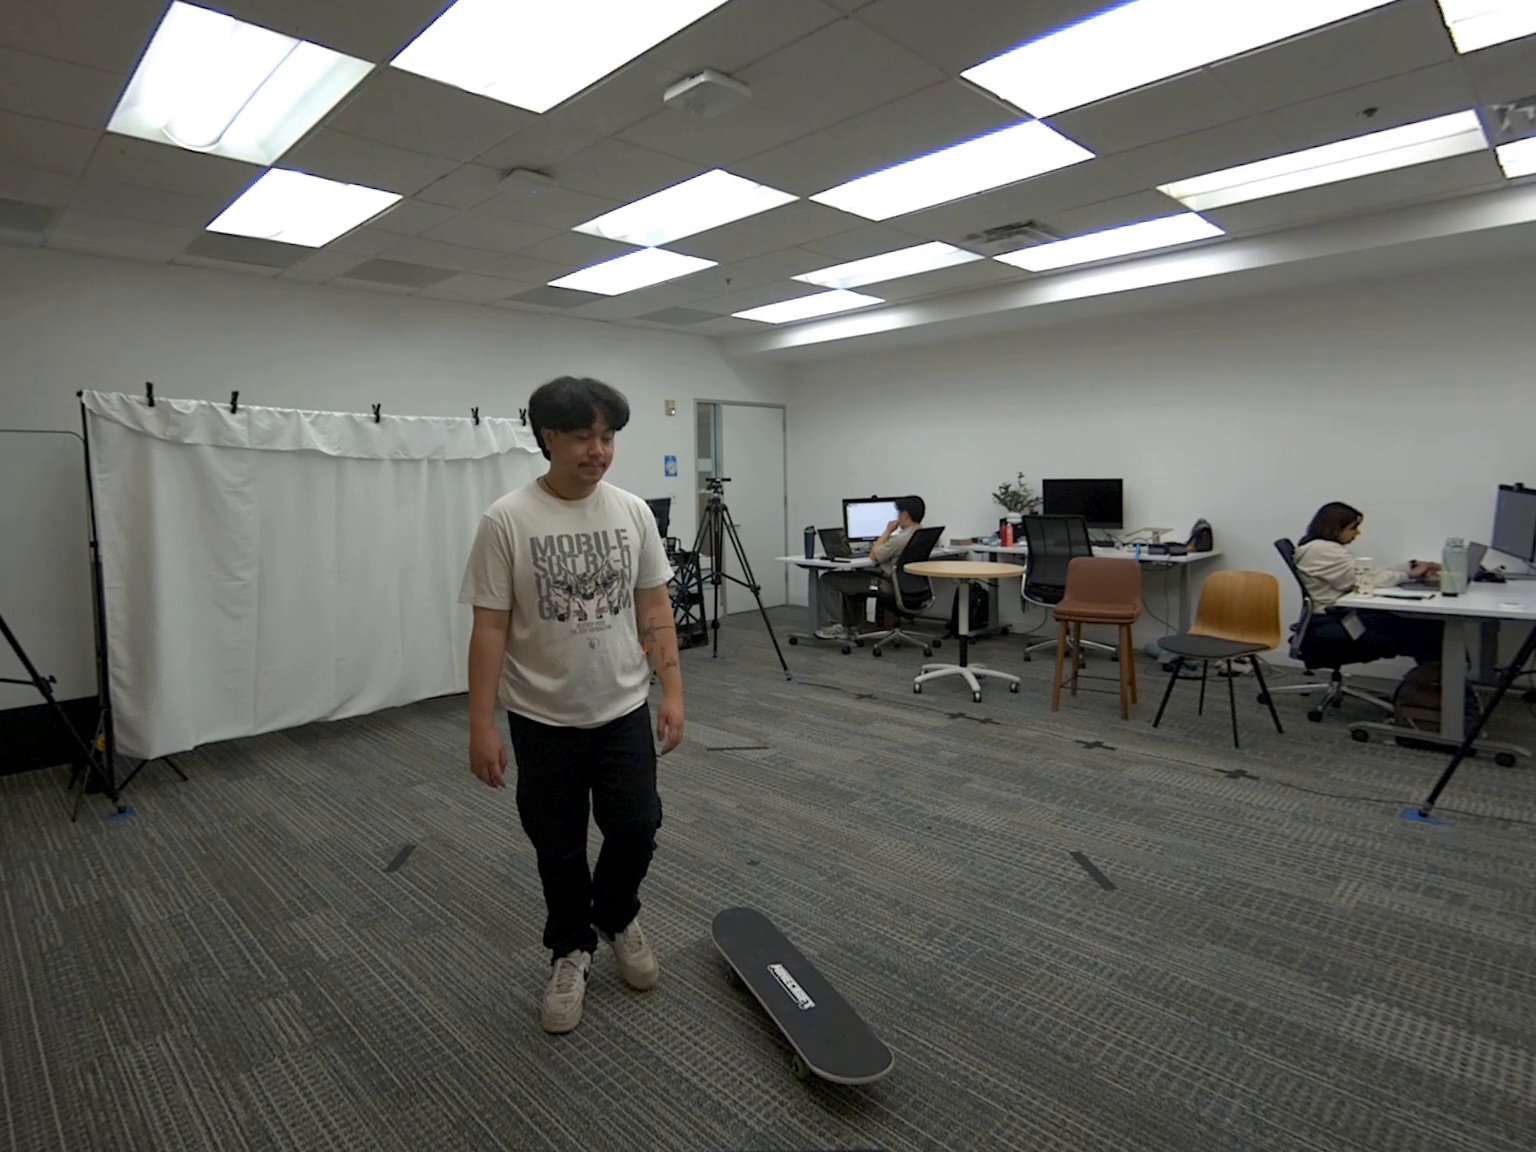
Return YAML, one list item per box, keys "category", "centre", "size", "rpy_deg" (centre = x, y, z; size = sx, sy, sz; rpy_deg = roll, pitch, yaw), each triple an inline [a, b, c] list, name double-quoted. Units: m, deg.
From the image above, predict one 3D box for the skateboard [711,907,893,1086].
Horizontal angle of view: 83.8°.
- category: "skateboard"
  centre: [0.062, 1.087, 2.212]
  size: [0.189, 0.110, 0.805]
  rpy_deg: [-4, 7, -24]
